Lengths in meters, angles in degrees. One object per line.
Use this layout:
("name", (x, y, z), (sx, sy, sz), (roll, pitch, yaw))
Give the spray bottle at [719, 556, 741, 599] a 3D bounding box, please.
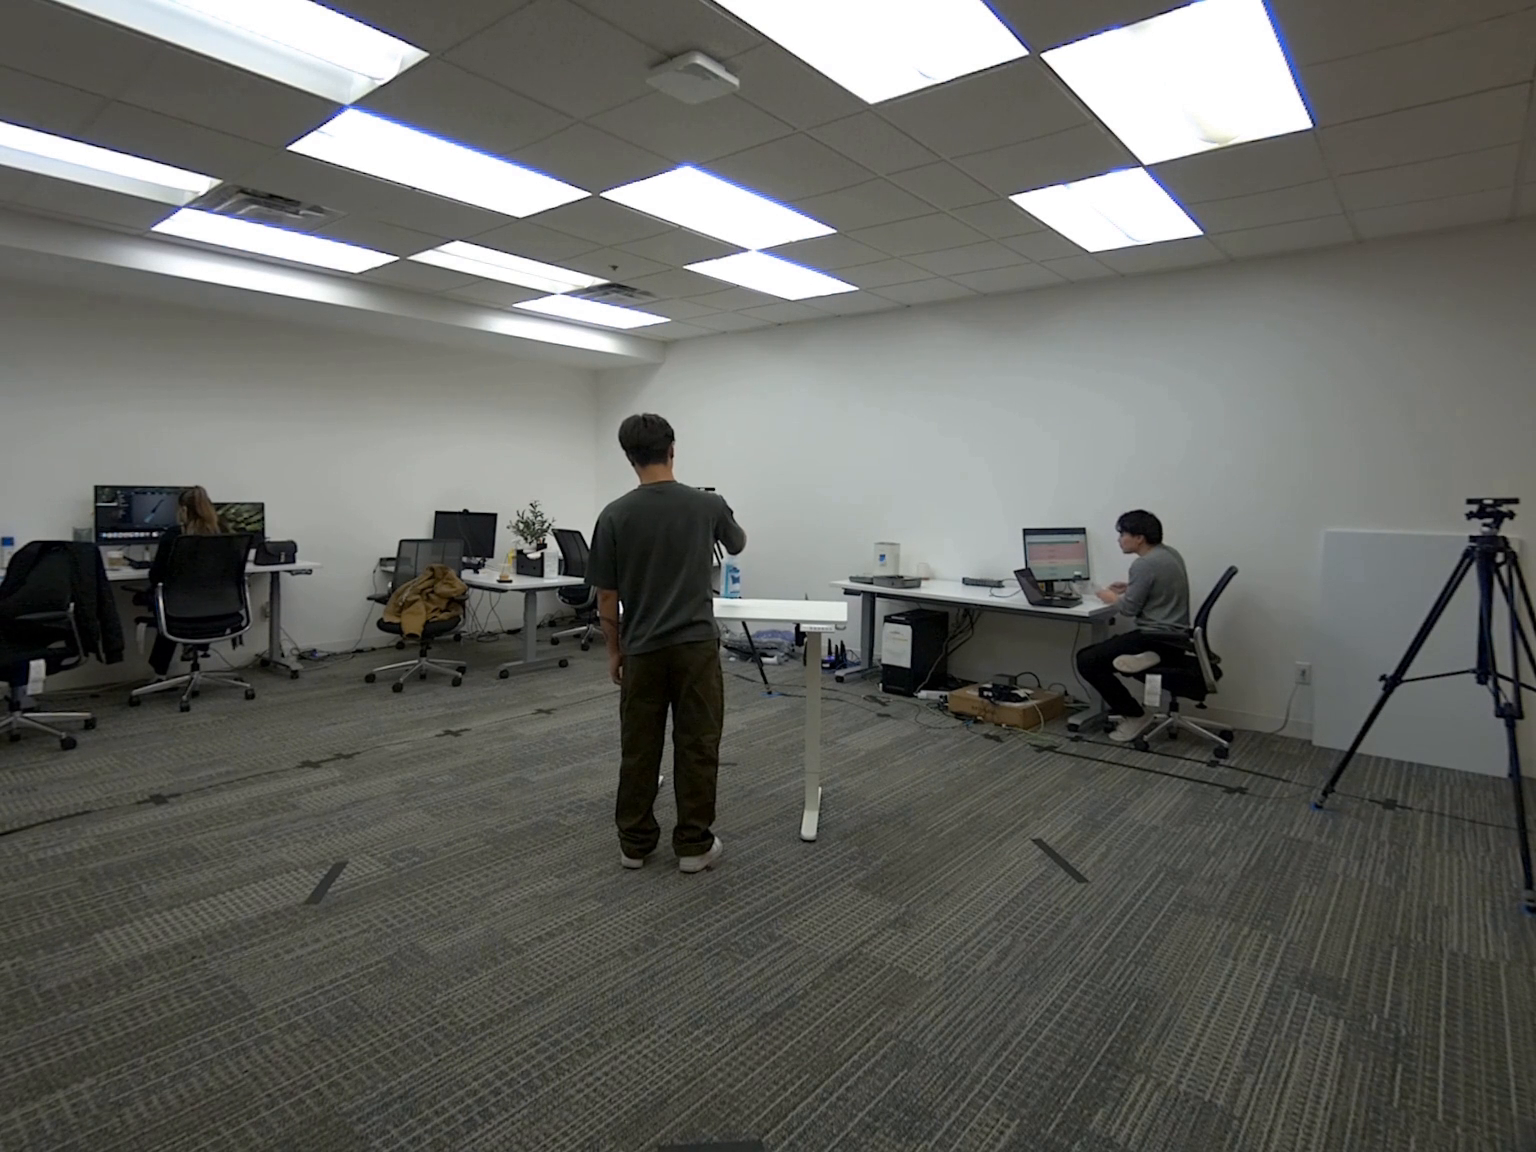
("spray bottle", (-0.170, -0.058, 3.697), (0.089, 0.297, 0.088), (2, 1, 21))
